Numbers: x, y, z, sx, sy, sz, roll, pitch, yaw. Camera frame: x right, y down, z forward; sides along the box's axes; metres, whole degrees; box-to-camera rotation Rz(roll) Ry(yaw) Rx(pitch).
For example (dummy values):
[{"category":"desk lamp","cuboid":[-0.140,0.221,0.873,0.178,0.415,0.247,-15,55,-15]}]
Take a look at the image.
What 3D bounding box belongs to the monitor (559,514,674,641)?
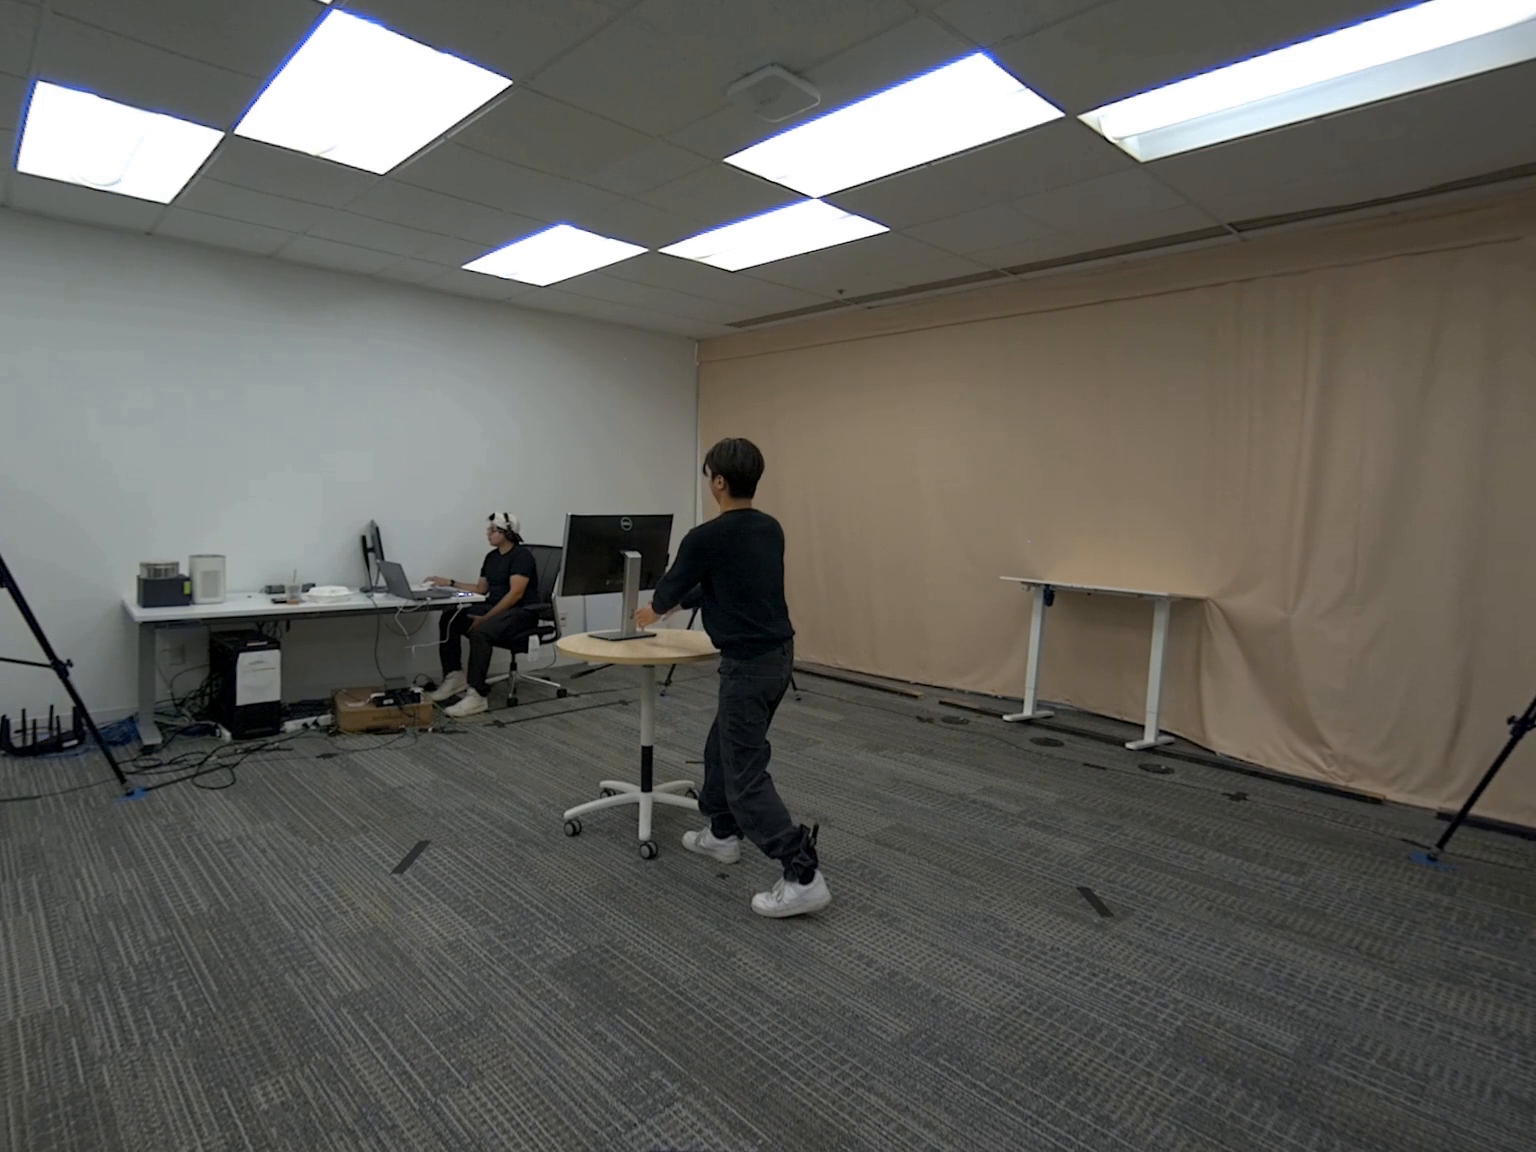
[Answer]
[{"category":"monitor","cuboid":[-0.650,-0.006,3.688,0.178,0.516,0.518,-3,2,44]}]
